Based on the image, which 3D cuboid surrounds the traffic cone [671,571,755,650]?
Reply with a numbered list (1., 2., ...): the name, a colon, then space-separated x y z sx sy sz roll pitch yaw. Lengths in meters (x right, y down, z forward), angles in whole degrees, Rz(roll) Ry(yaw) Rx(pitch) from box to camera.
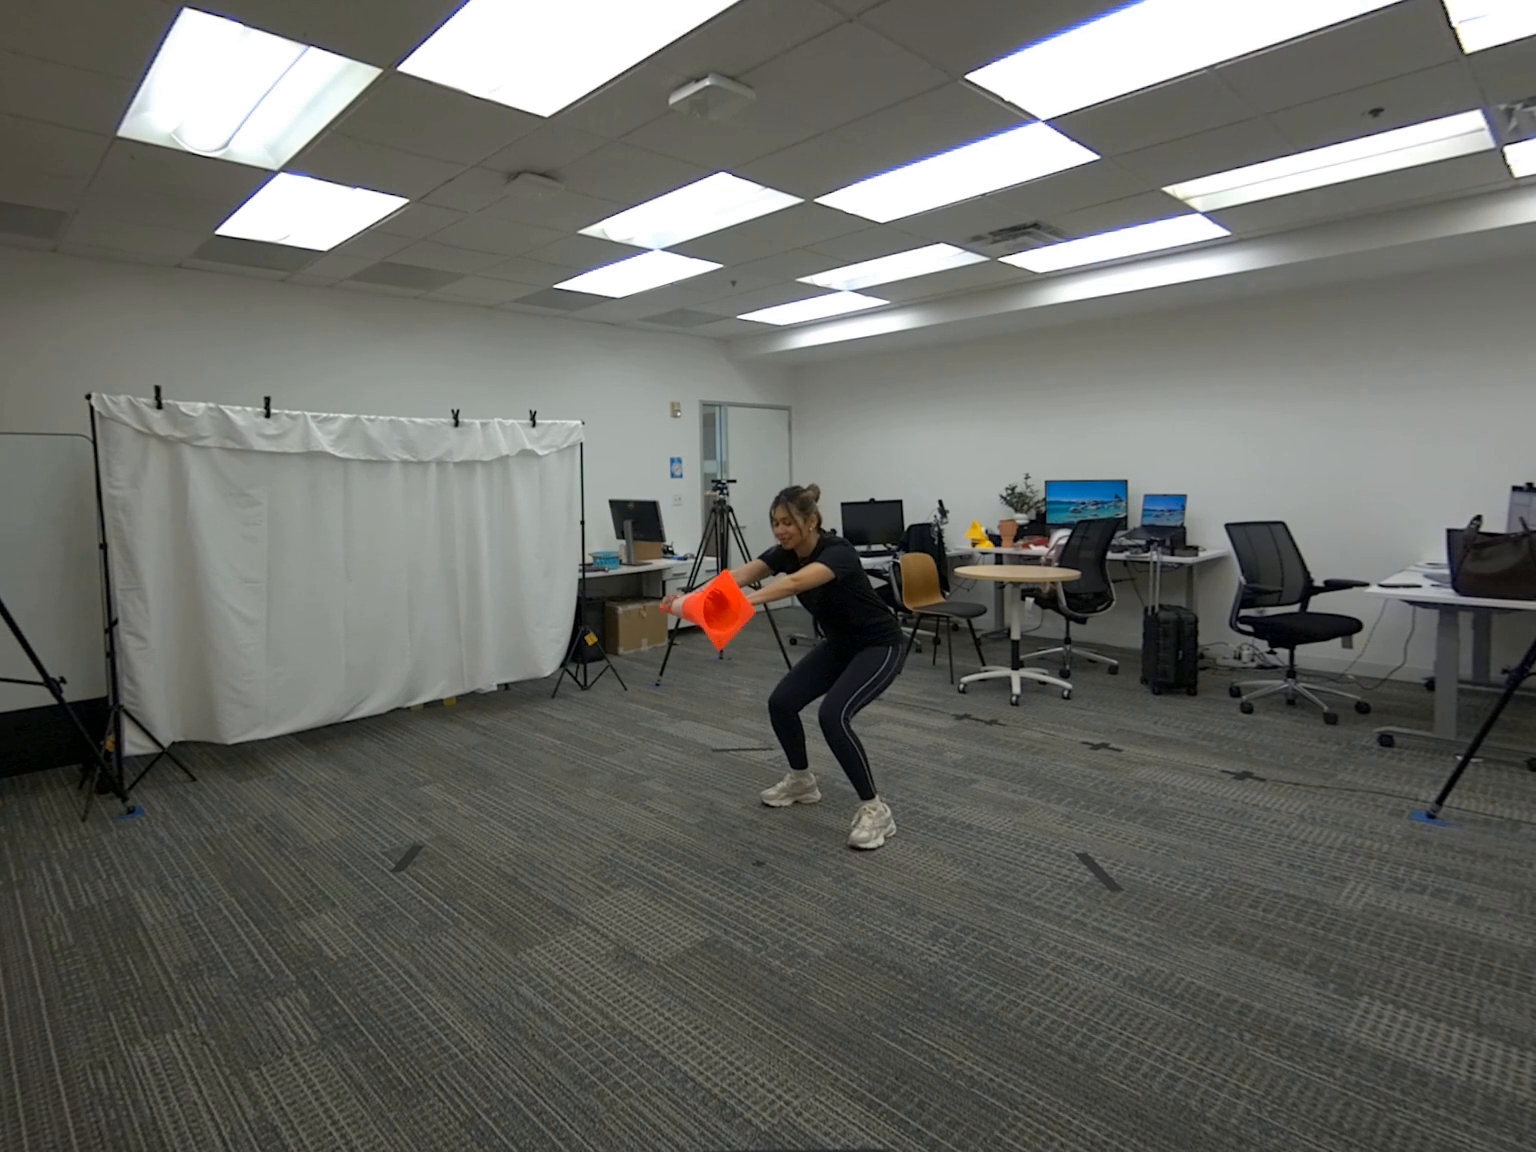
1. traffic cone: -0.259 0.118 3.011 0.203 0.200 0.393 -45 23 -28
